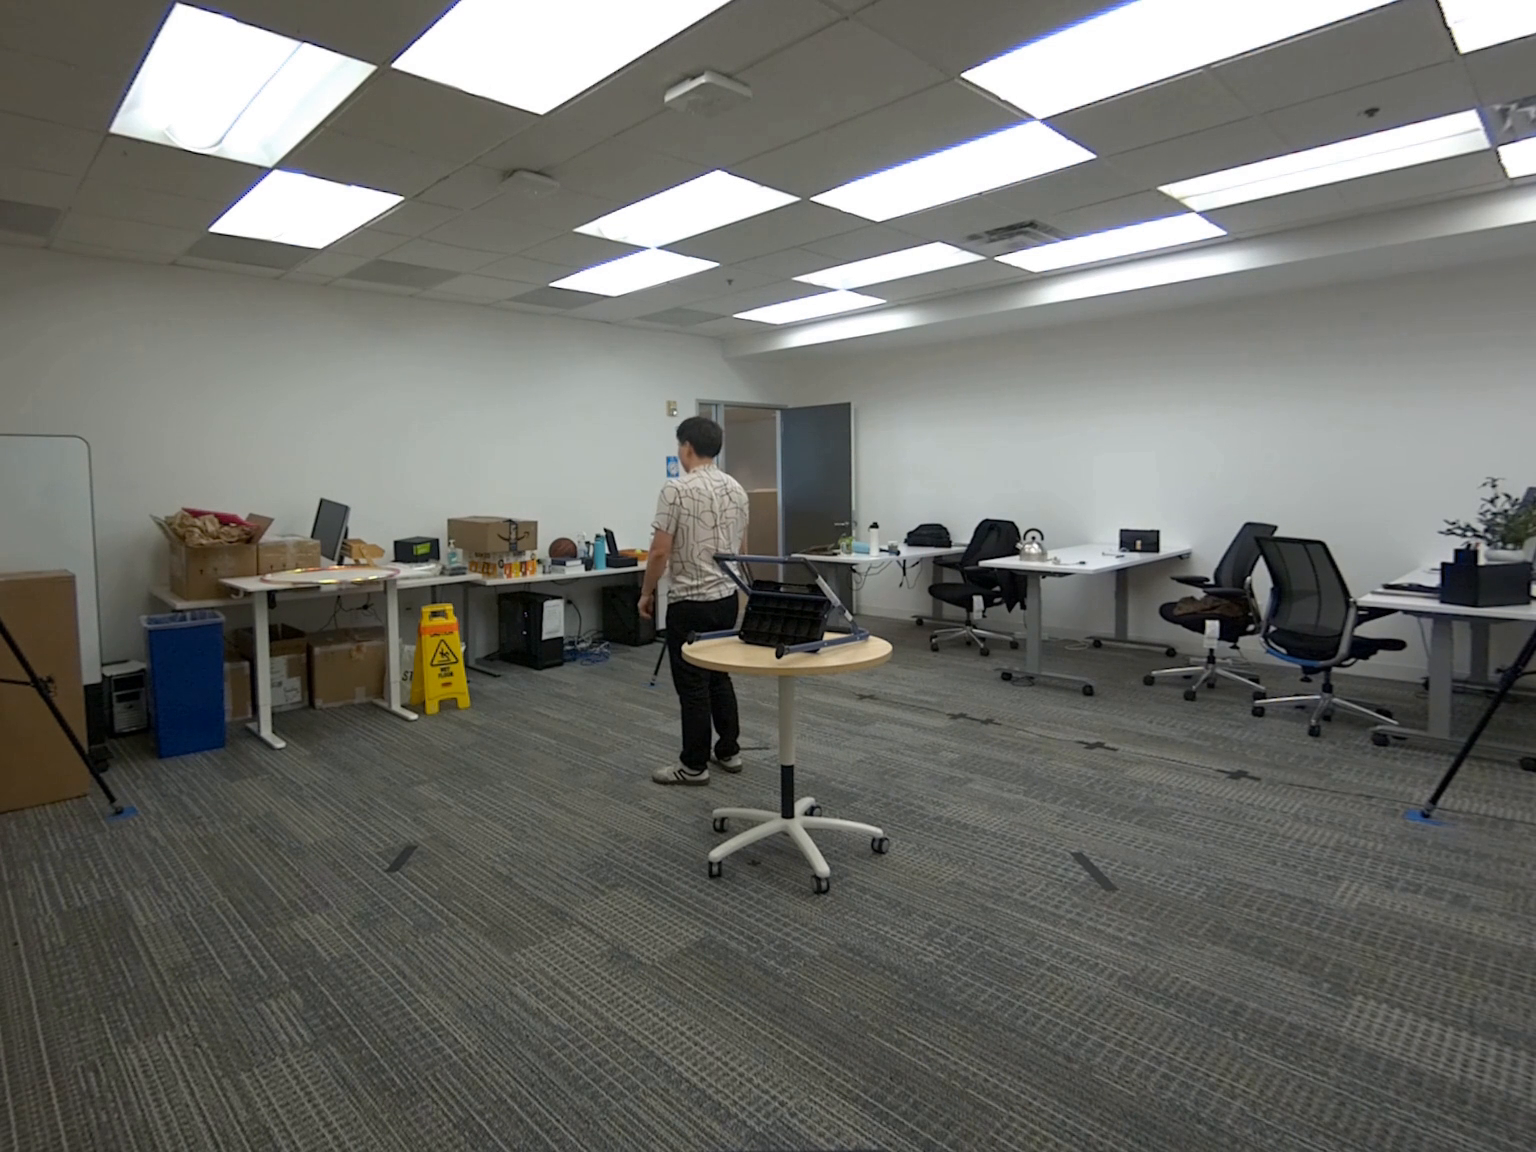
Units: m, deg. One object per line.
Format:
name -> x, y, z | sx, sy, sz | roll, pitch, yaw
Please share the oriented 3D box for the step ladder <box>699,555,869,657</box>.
step ladder -> 0.091, 0.189, 3.155 | 0.444, 0.352, 0.583 | 4, -18, 39
